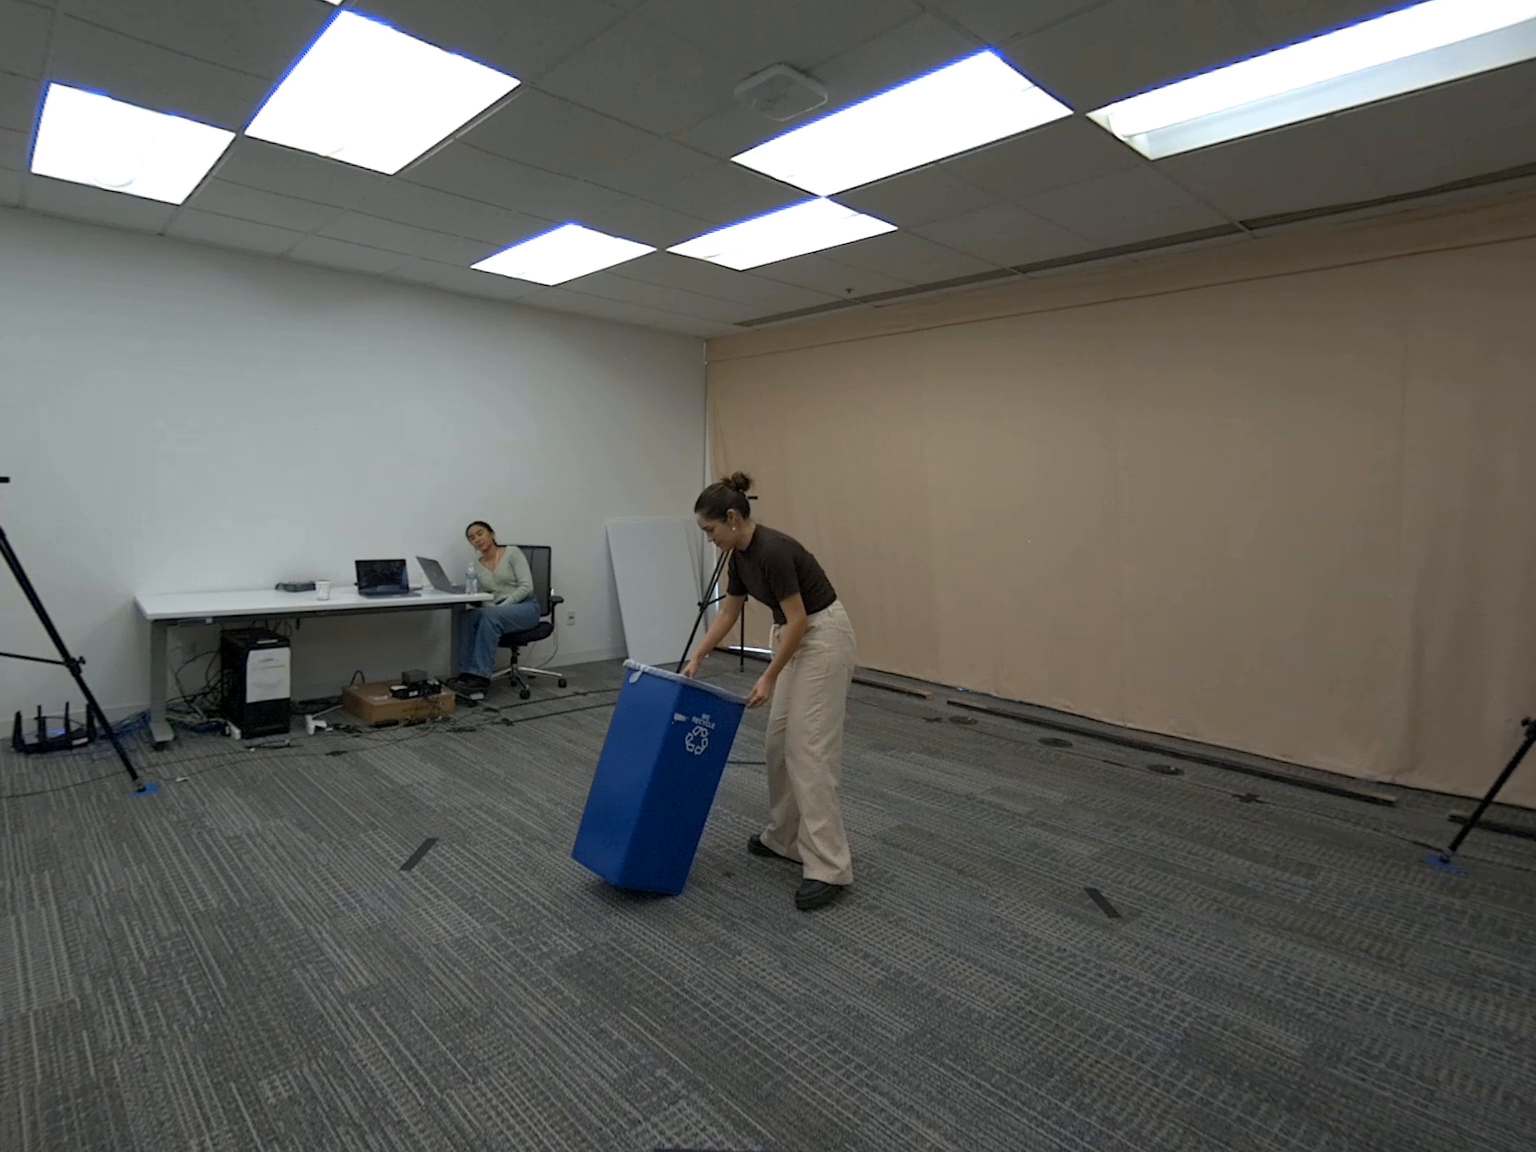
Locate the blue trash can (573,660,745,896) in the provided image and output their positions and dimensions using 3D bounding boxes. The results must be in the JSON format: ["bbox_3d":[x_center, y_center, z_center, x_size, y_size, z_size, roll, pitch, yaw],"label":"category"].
[{"bbox_3d":[-0.398,0.720,3.025,0.388,0.717,0.363,5,-16,47],"label":"blue trash can"}]
